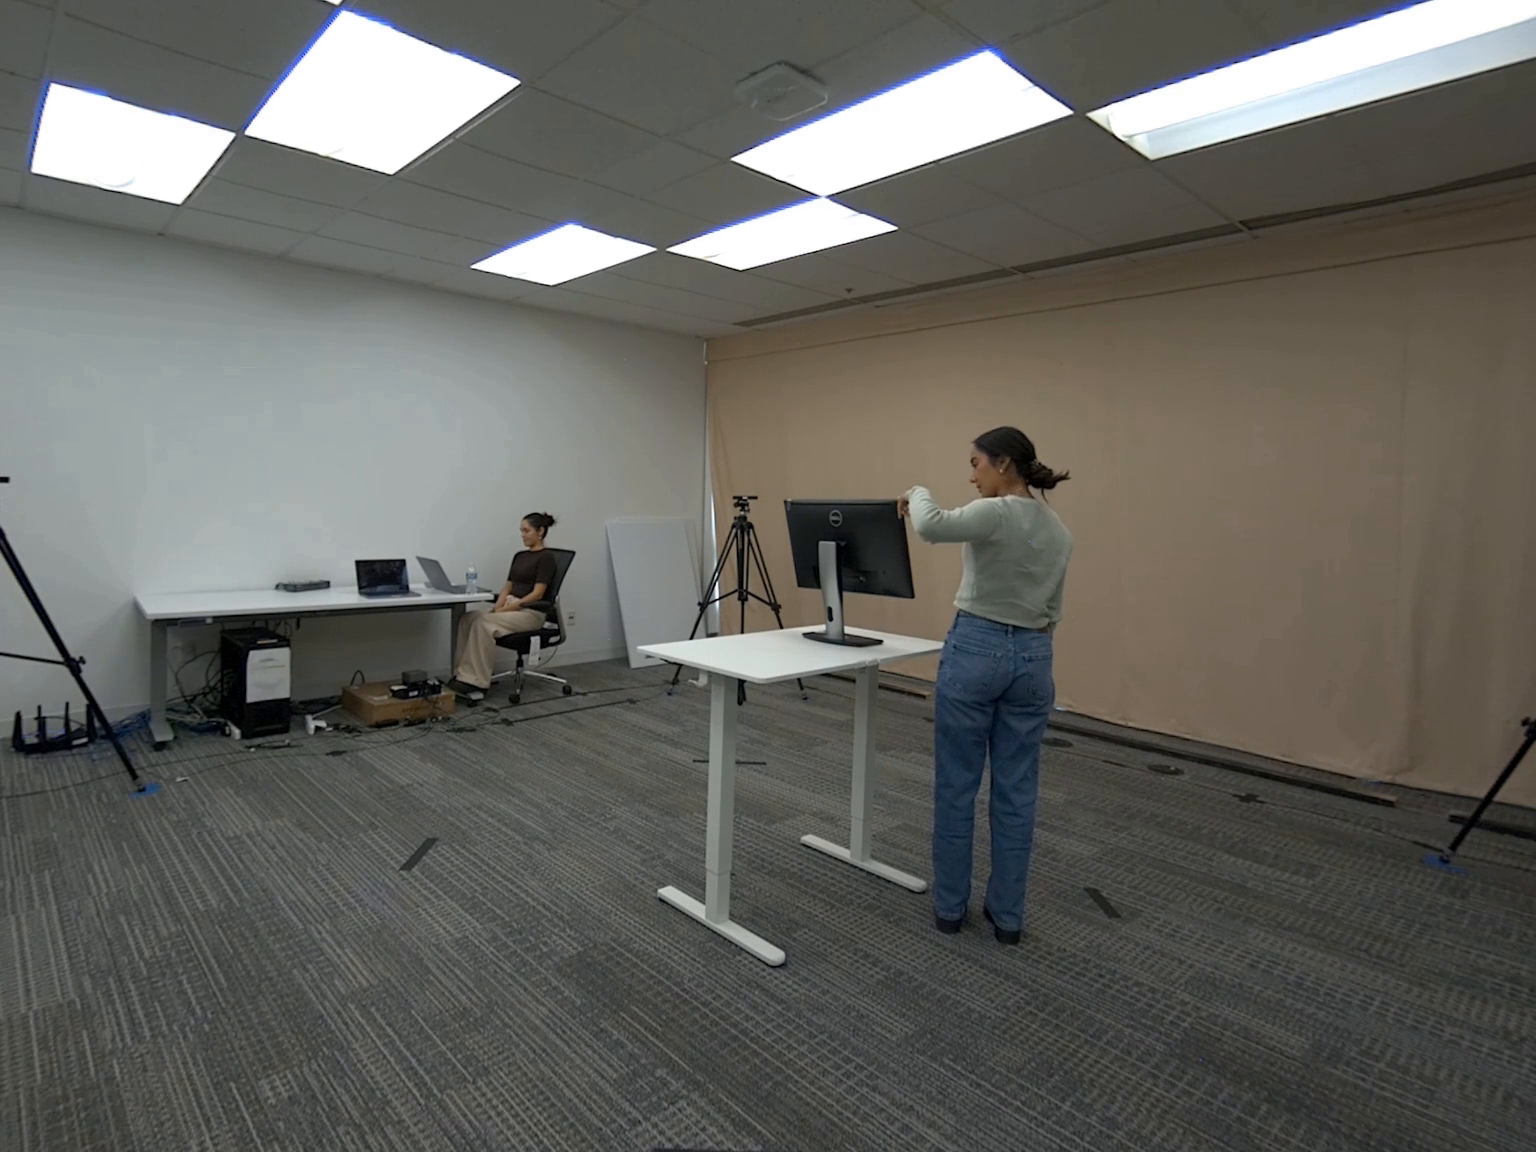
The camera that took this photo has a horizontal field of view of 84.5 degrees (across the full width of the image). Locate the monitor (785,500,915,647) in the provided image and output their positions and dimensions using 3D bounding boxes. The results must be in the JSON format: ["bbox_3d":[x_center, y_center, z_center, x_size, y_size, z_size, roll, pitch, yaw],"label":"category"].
[{"bbox_3d":[0.246,-0.012,3.037,0.183,0.520,0.553,-6,8,-43],"label":"monitor"}]
